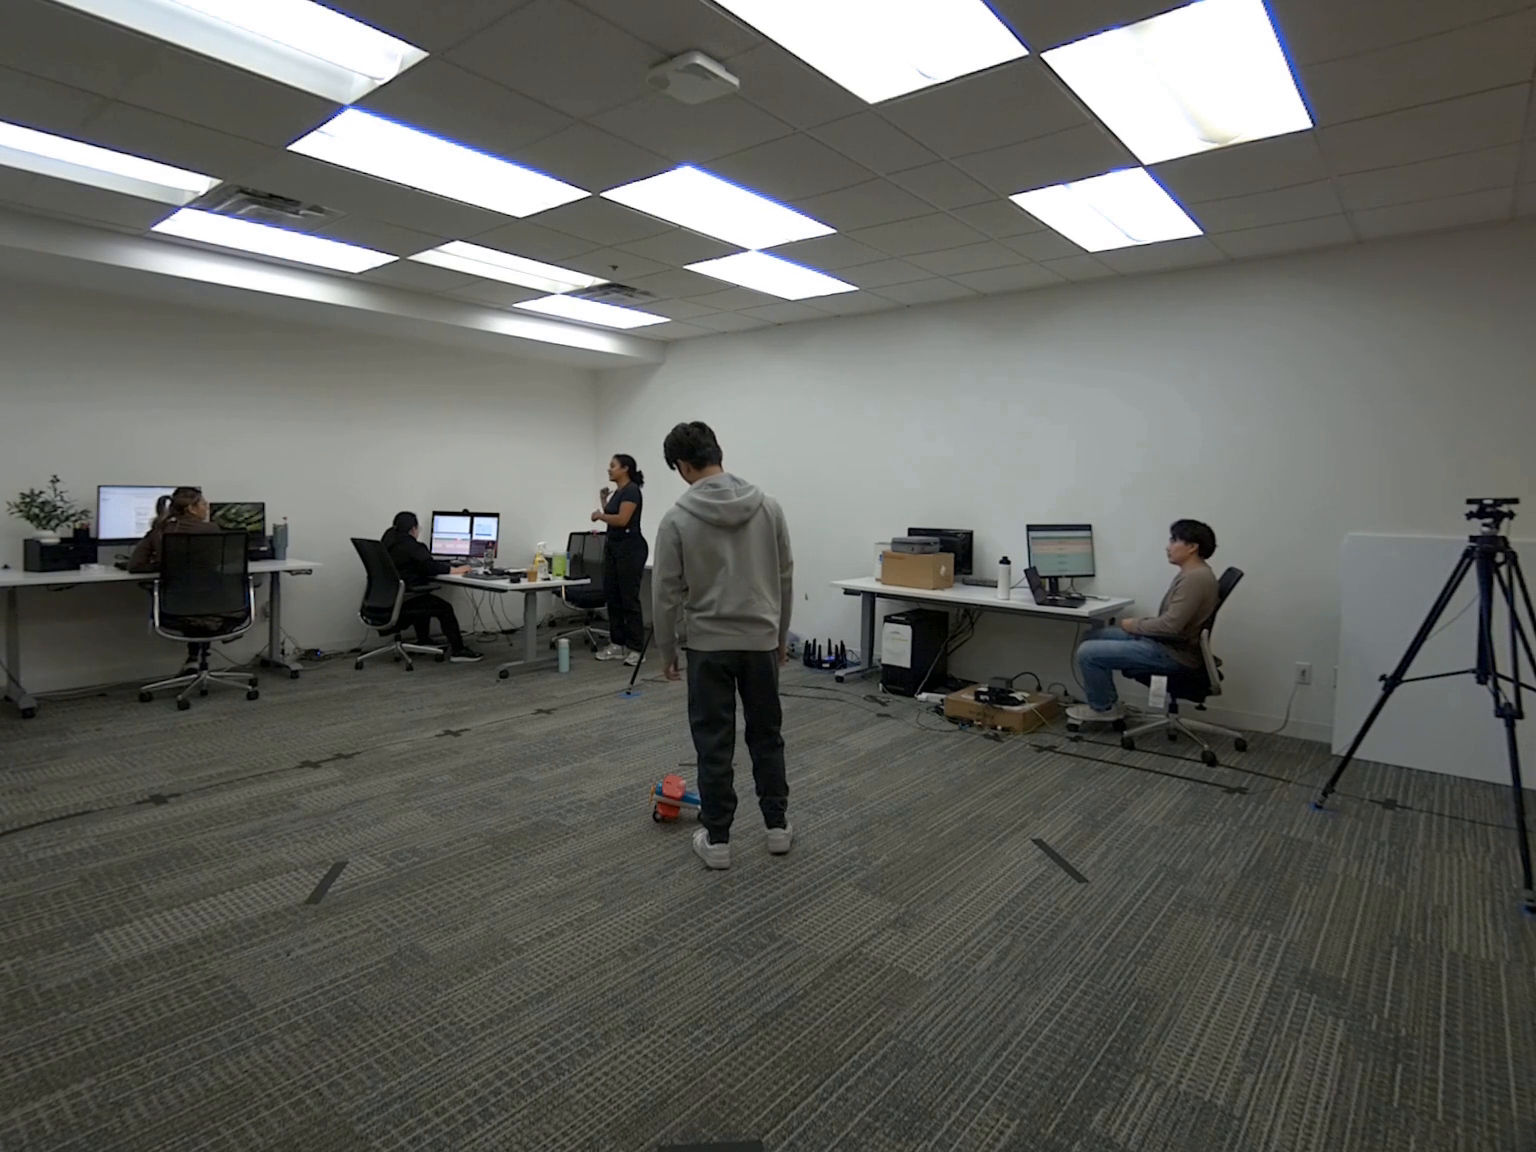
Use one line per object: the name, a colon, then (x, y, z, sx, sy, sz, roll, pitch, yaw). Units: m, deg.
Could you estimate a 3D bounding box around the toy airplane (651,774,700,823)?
toy airplane: (-0.387, 0.943, 3.599, 0.253, 0.156, 0.259, -3, 6, -29)
